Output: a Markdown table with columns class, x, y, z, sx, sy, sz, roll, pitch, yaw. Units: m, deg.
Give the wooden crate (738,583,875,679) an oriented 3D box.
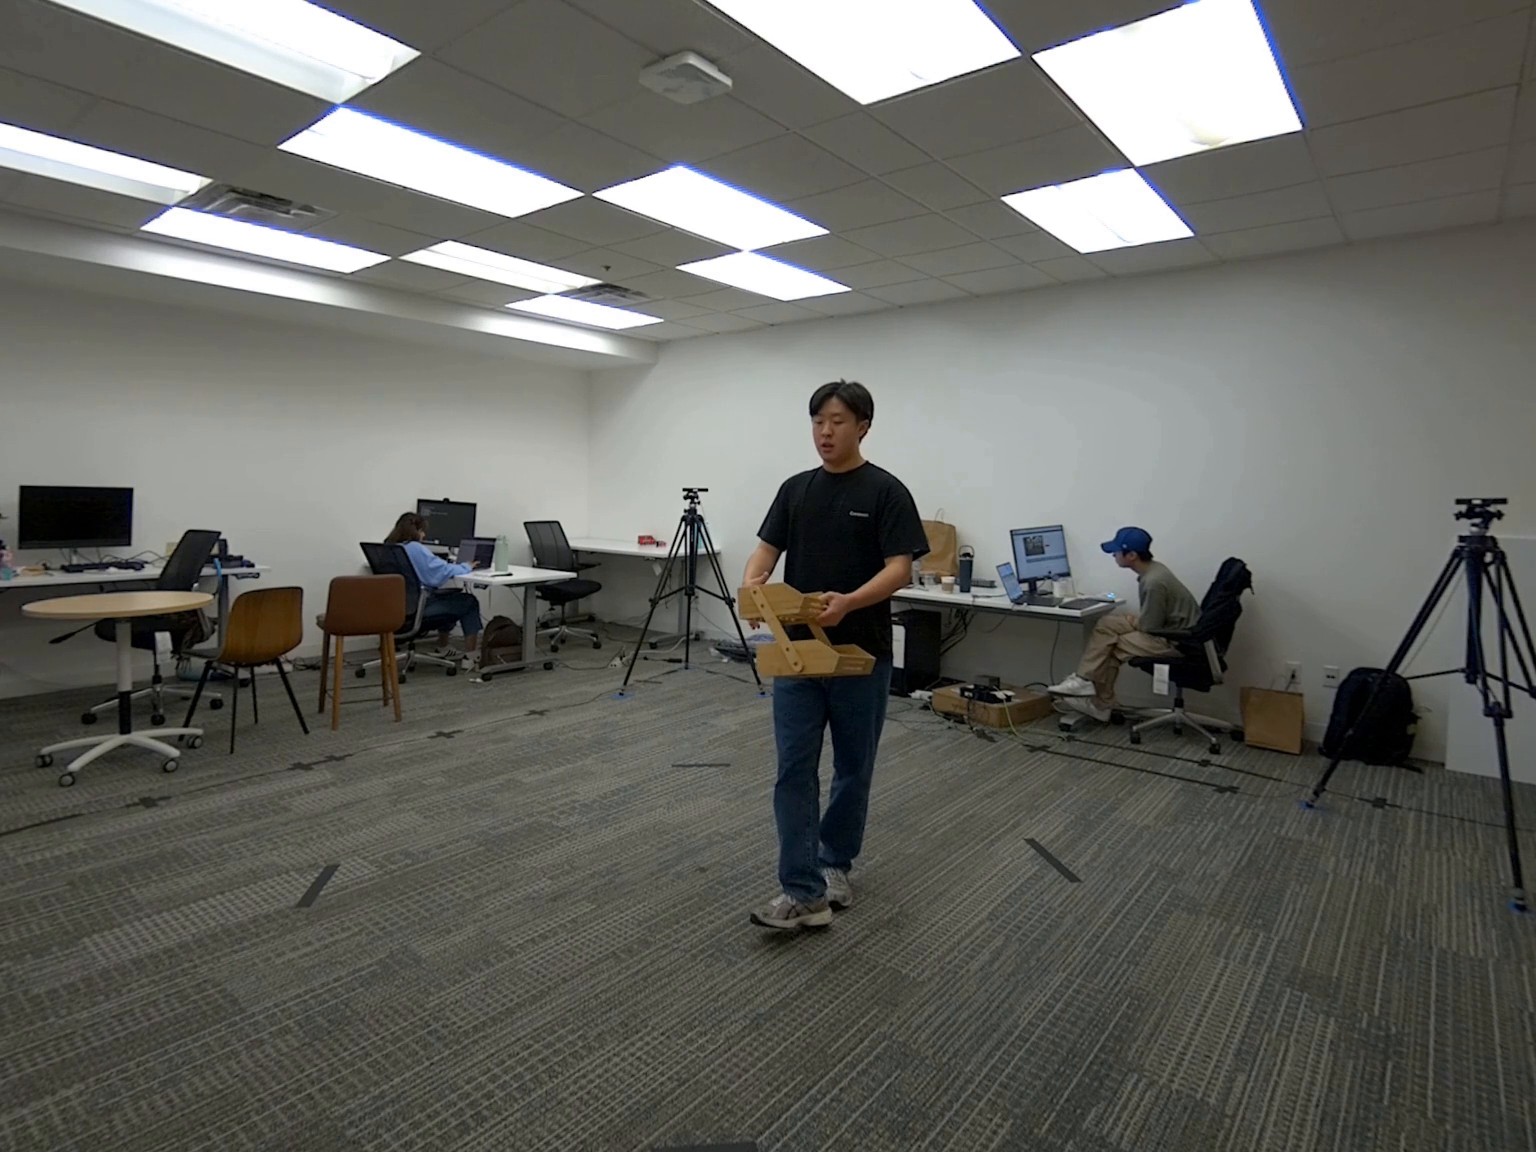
| class | x | y | z | sx | sy | sz | roll | pitch | yaw |
| --- | --- | --- | --- | --- | --- | --- | --- | --- | --- |
| wooden crate | 0.111 | 0.155 | 2.510 | 0.309 | 0.276 | 0.314 | -9 | -11 | 27 |
